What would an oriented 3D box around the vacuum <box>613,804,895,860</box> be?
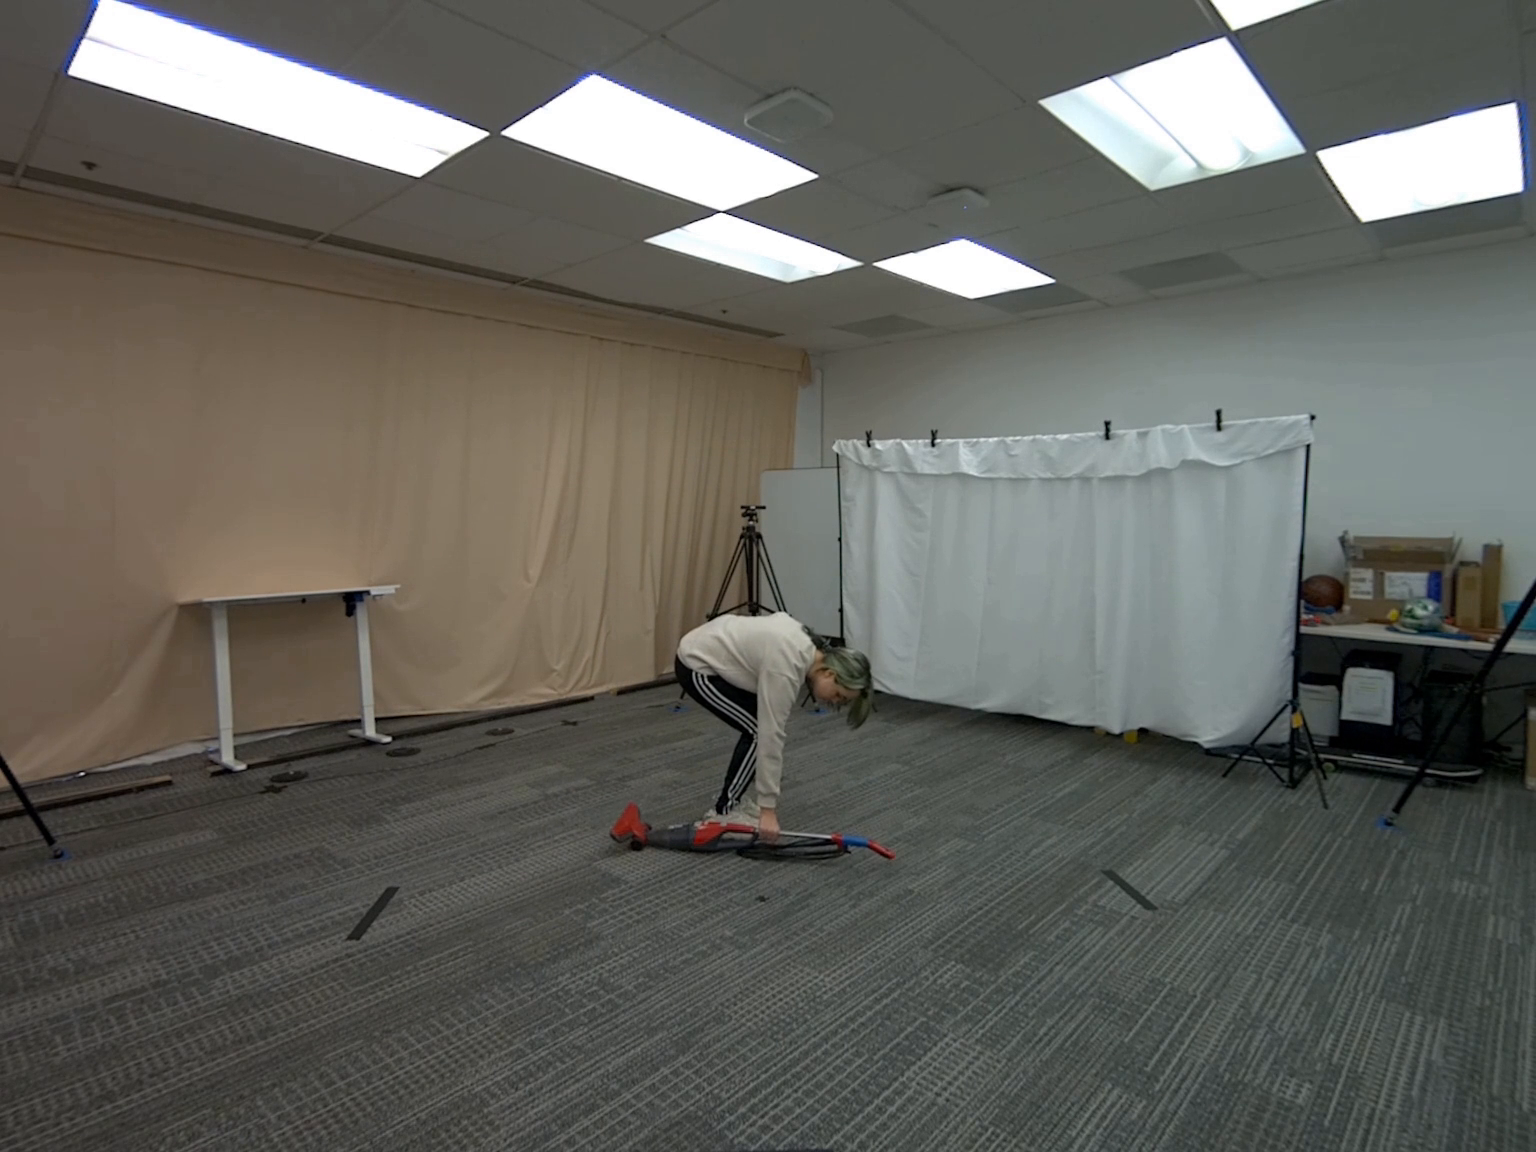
[{"bbox_3d":[-0.035,1.049,3.341,1.063,0.143,0.251,2,11,12],"label":"vacuum"}]
